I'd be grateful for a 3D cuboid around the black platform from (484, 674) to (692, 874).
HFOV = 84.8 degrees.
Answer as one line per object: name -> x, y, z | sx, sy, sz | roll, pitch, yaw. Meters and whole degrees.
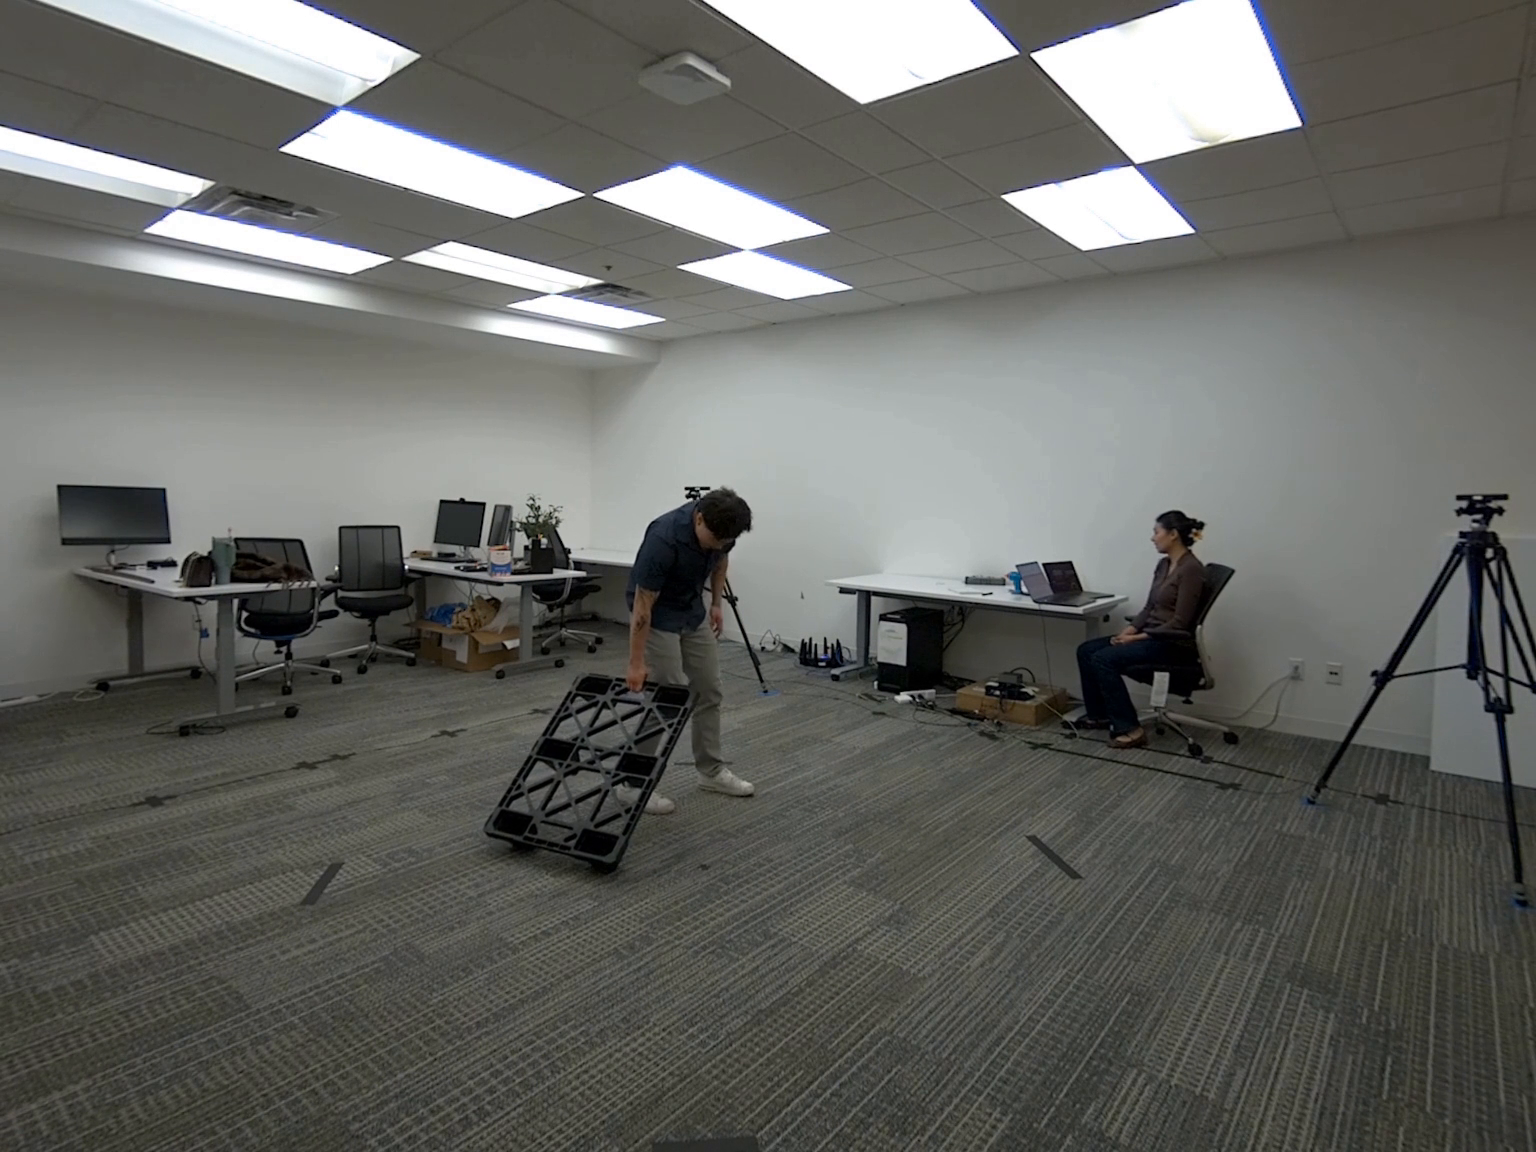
black platform -> -0.684, 0.760, 3.388 | 0.620, 0.138, 0.815 | 1, 43, 25
